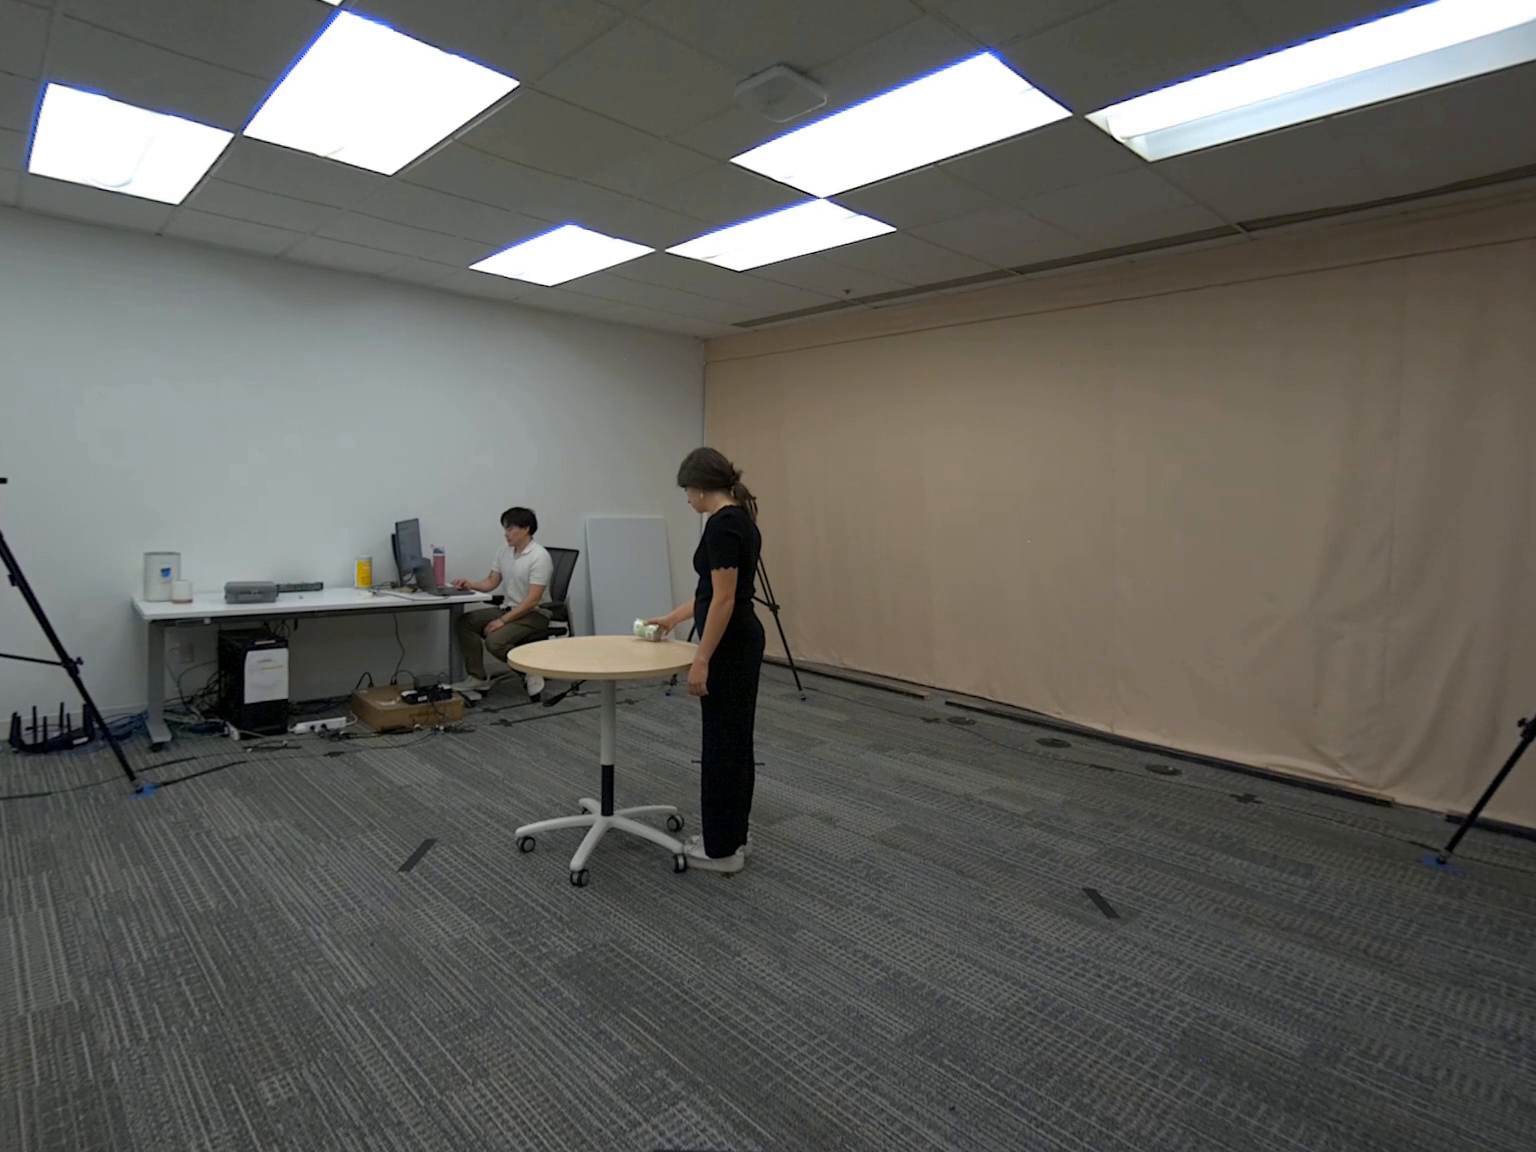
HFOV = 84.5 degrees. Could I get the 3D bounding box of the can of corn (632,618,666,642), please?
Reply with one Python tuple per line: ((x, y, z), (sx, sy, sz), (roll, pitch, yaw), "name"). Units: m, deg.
((-0.510, 0.226, 3.528), (0.113, 0.074, 0.073), (11, 7, 22), "can of corn")
